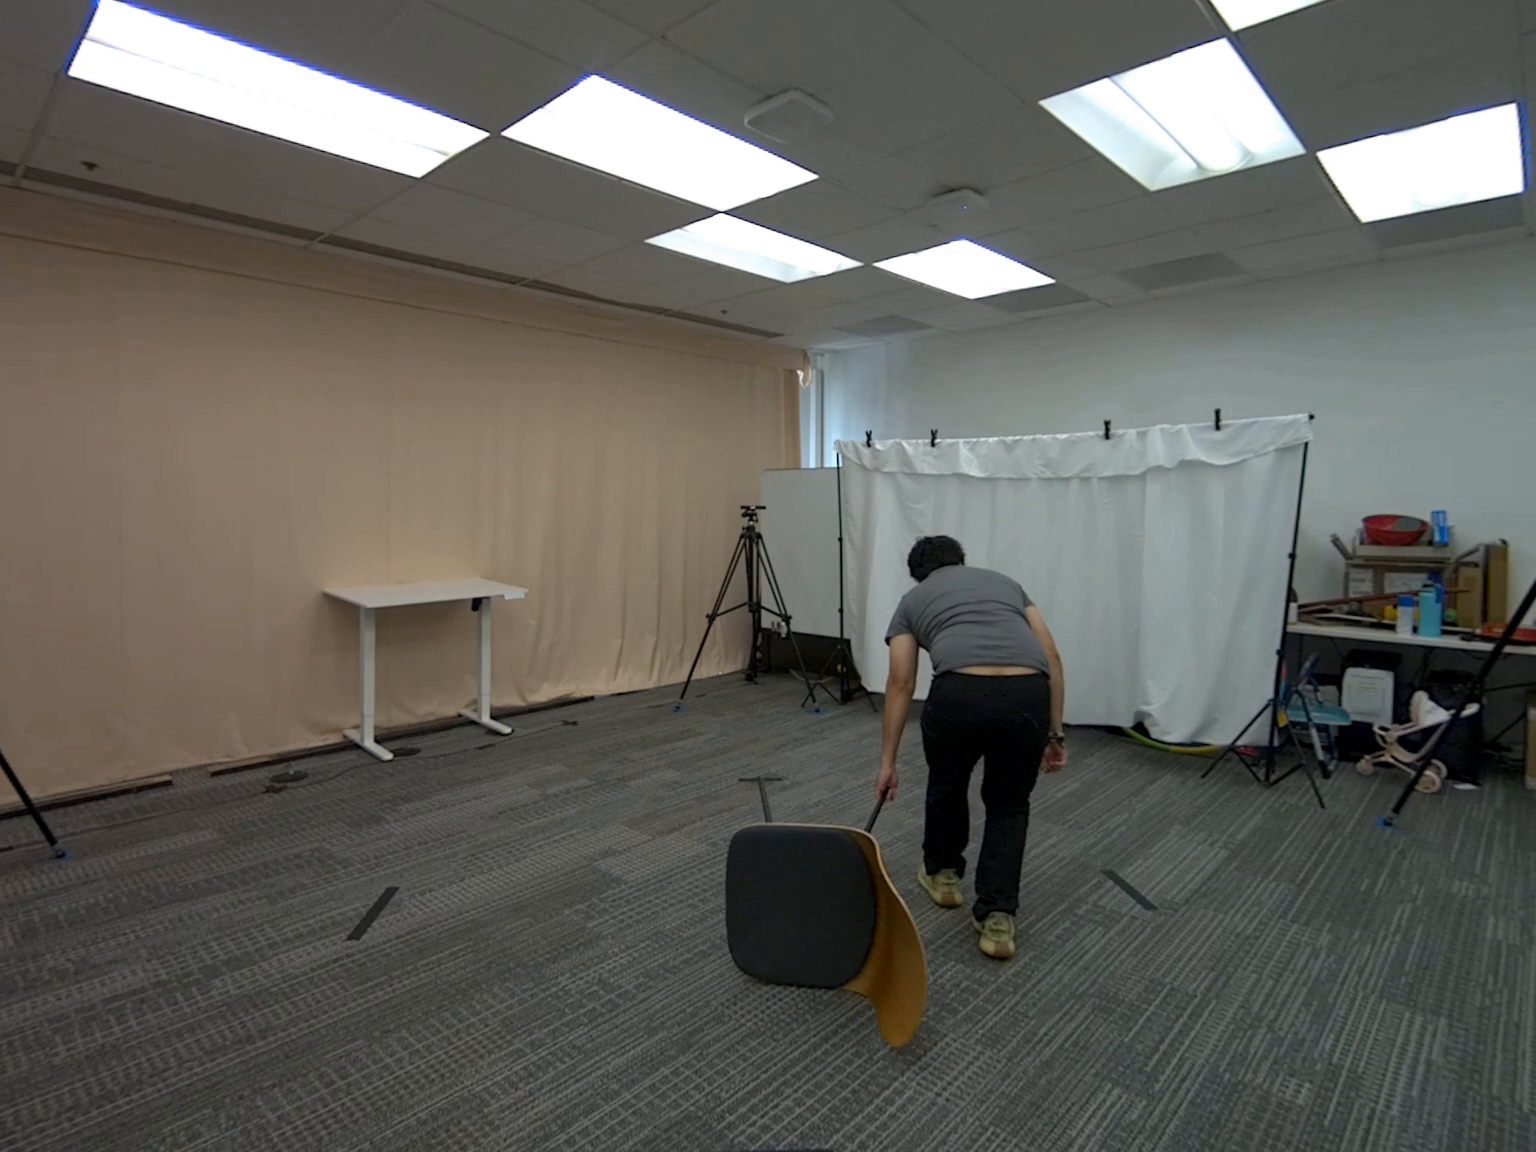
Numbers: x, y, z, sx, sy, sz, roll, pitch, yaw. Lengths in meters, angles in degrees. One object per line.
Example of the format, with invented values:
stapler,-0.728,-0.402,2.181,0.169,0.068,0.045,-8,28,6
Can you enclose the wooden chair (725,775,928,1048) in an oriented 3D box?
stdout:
wooden chair,0.138,0.958,2.472,0.526,0.477,0.875,0,4,3
